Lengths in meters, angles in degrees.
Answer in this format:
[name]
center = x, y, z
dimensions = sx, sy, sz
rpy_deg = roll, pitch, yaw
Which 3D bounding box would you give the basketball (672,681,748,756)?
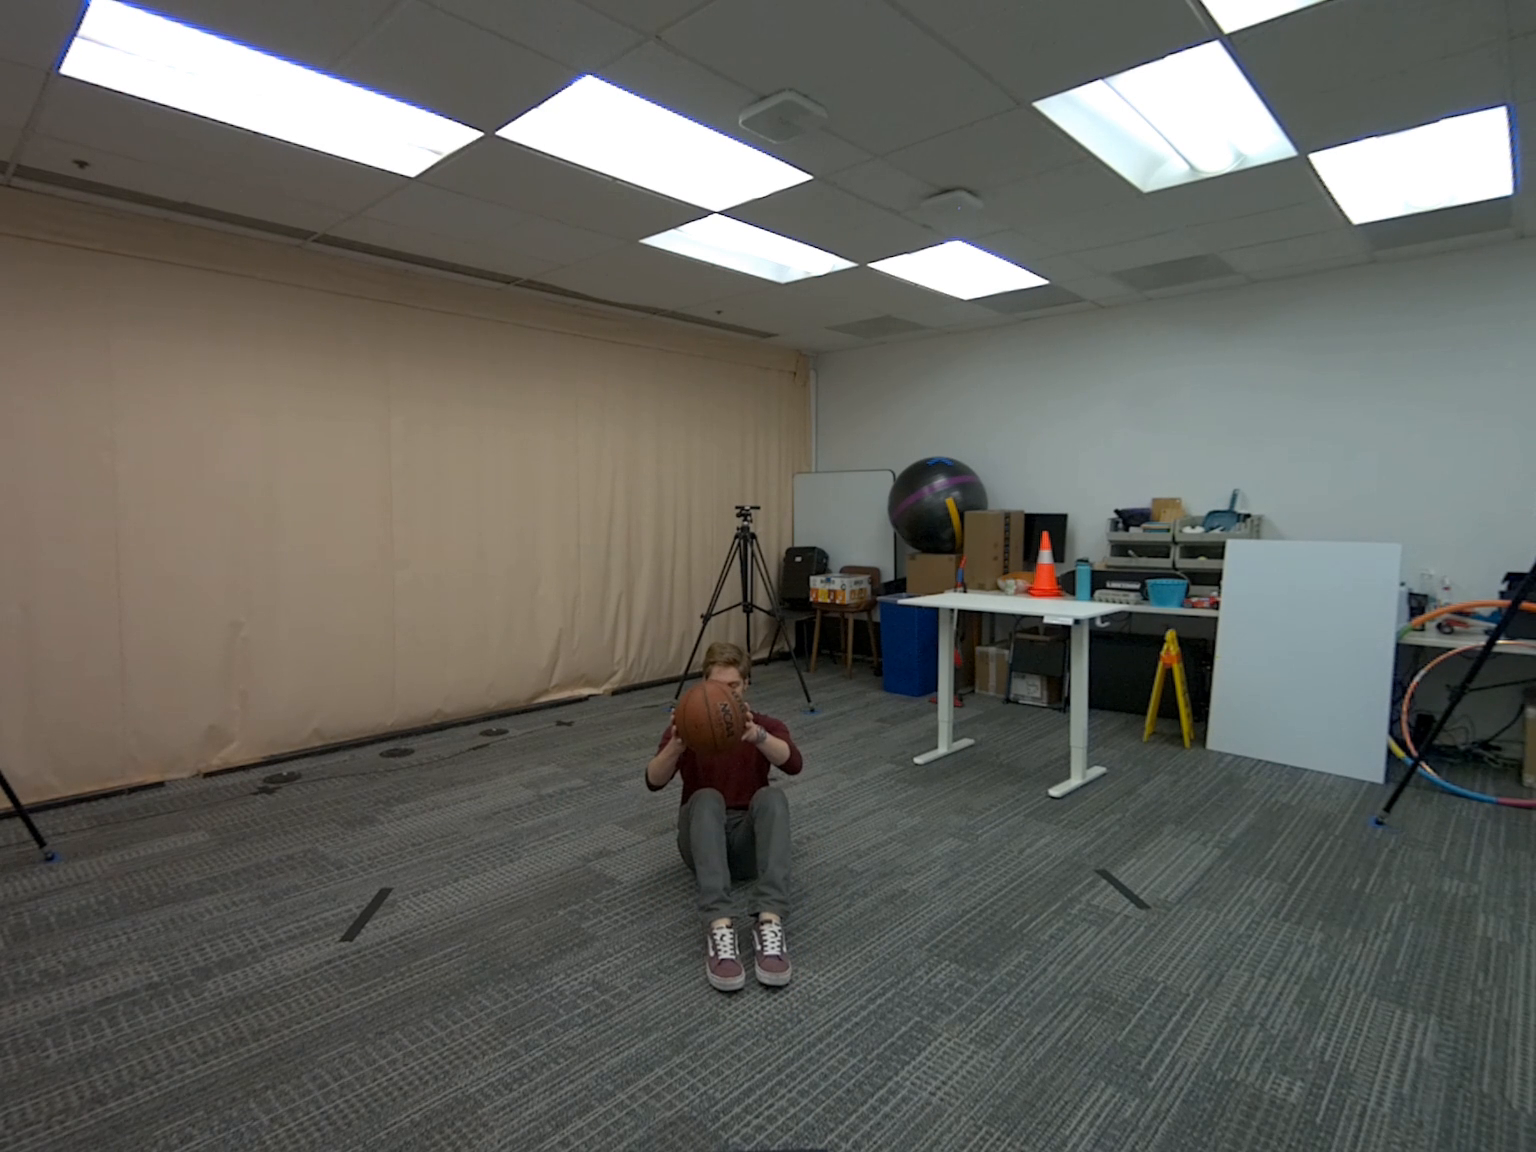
[basketball]
center = -0.190, 0.465, 2.761
dimensions = 0.236, 0.235, 0.237
rpy_deg = 0, 4, -2
